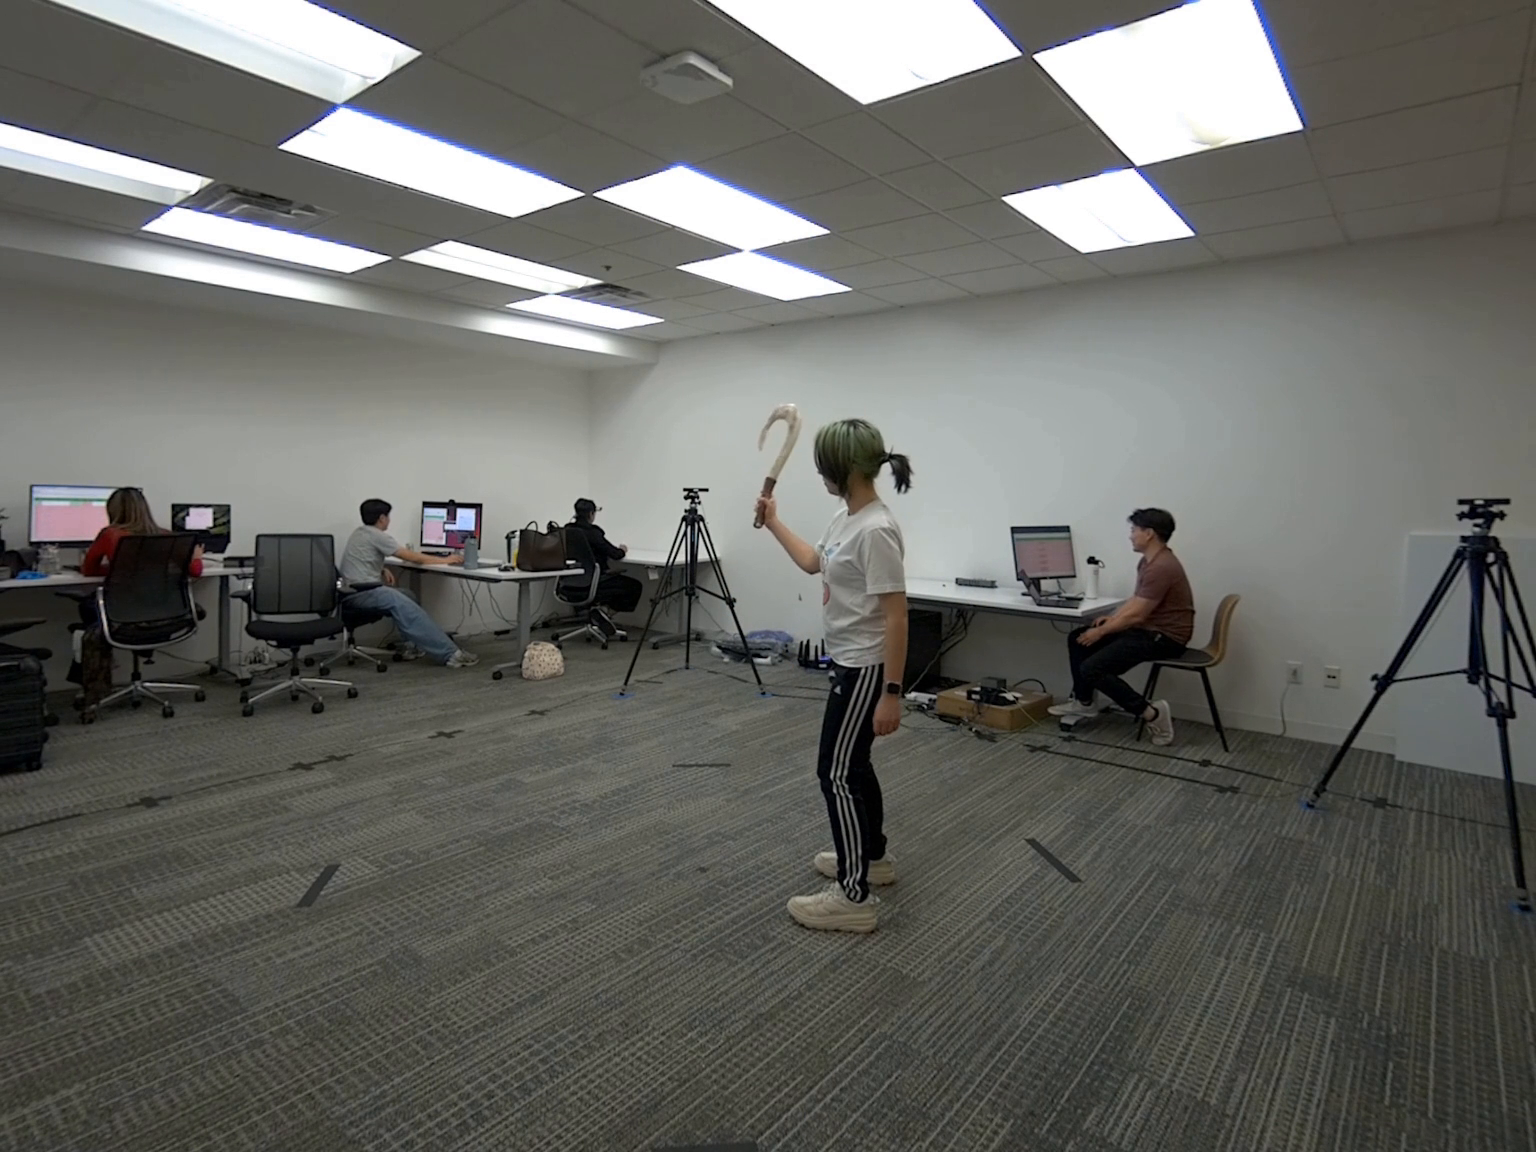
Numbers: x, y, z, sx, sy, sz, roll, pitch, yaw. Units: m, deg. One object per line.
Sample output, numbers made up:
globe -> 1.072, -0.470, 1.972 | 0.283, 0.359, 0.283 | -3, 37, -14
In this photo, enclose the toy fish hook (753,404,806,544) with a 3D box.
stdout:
toy fish hook -> -0.010, -0.419, 3.311 | 0.046, 0.508, 0.232 | 20, -4, -34
